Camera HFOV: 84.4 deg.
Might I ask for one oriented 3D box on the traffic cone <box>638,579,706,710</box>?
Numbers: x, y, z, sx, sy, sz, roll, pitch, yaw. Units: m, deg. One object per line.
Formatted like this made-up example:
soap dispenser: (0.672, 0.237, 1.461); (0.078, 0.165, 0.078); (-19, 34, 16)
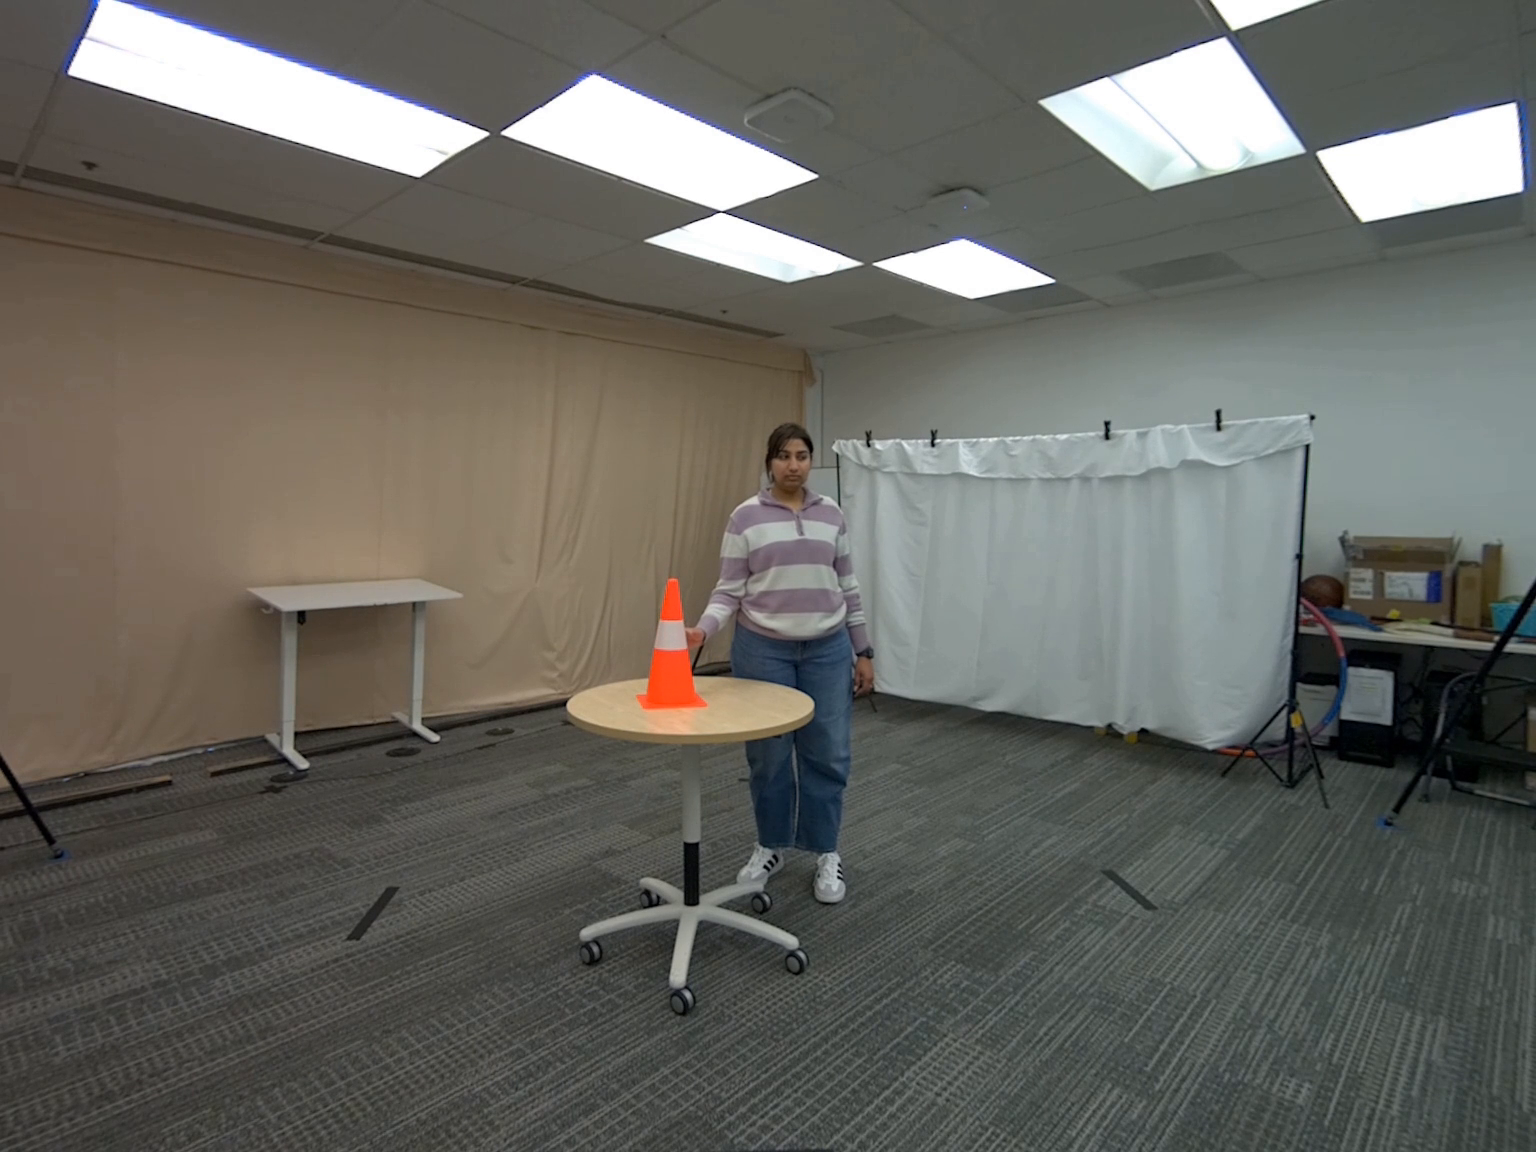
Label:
traffic cone: (-0.298, 0.204, 2.625); (0.200, 0.383, 0.208); (0, 2, -17)
